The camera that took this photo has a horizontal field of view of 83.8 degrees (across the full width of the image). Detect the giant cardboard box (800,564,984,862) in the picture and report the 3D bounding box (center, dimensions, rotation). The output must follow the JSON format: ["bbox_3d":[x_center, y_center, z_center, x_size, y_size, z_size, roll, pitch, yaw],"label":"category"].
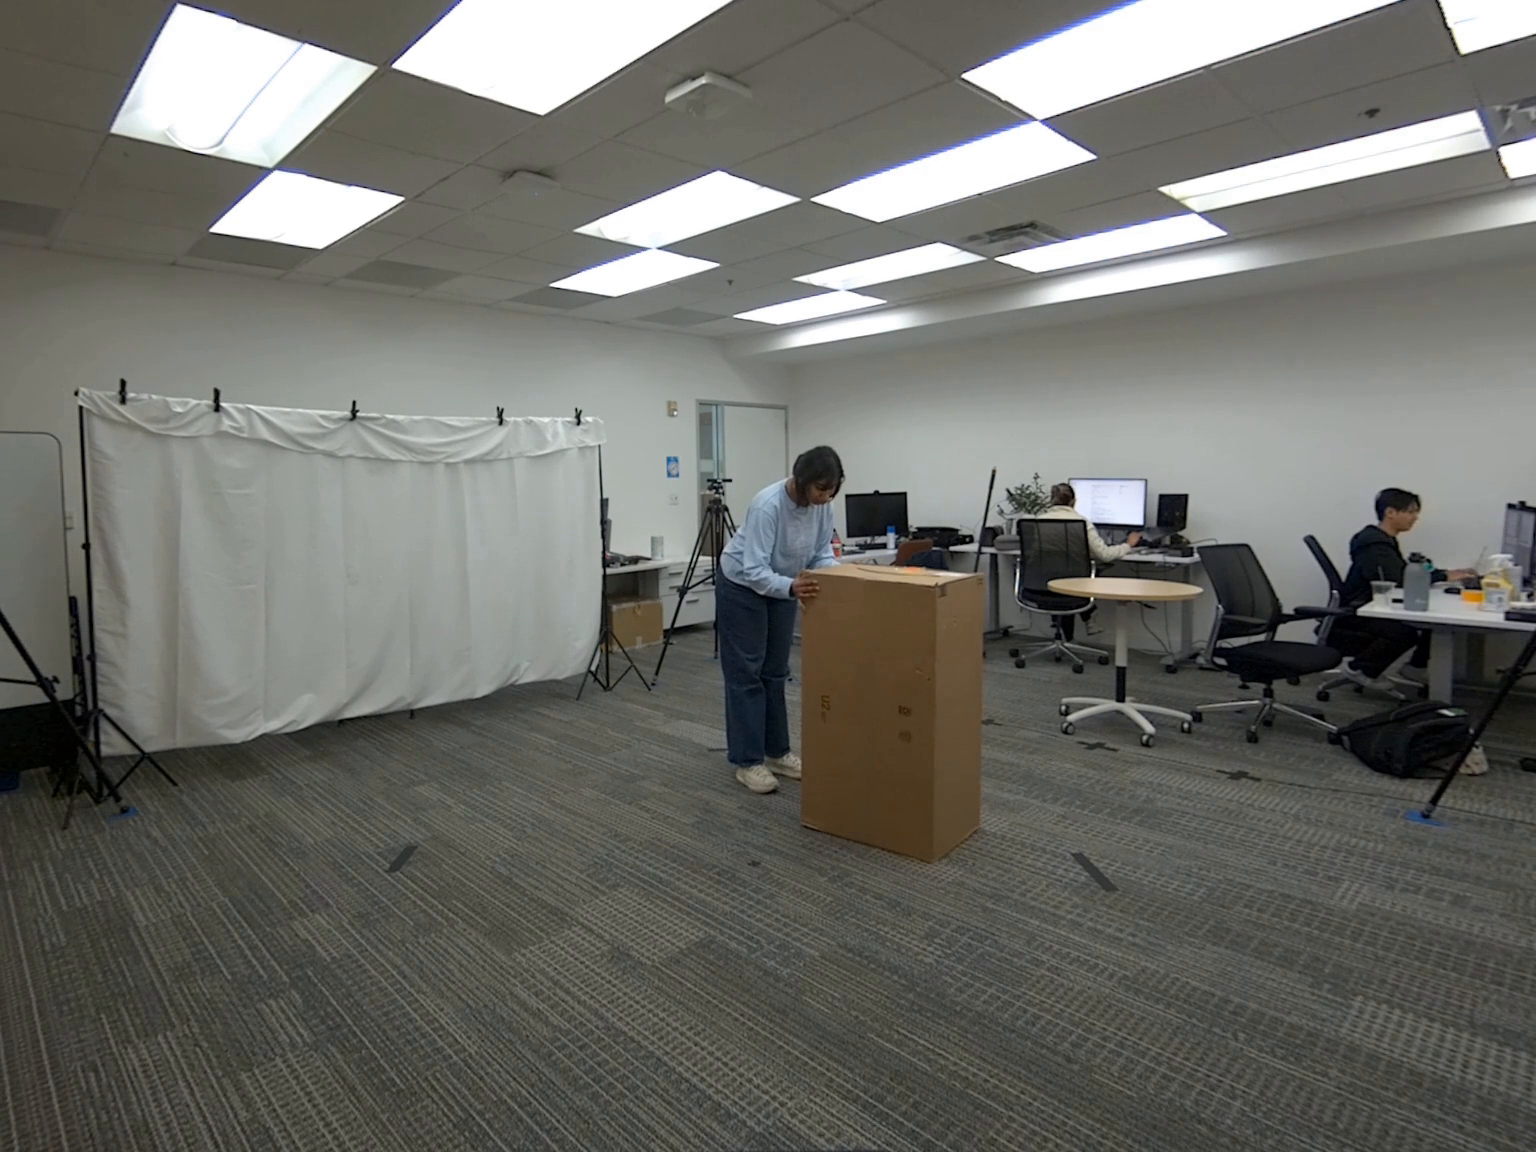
[{"bbox_3d":[0.493,0.497,3.379,0.595,1.021,0.415,3,6,37],"label":"giant cardboard box"}]
